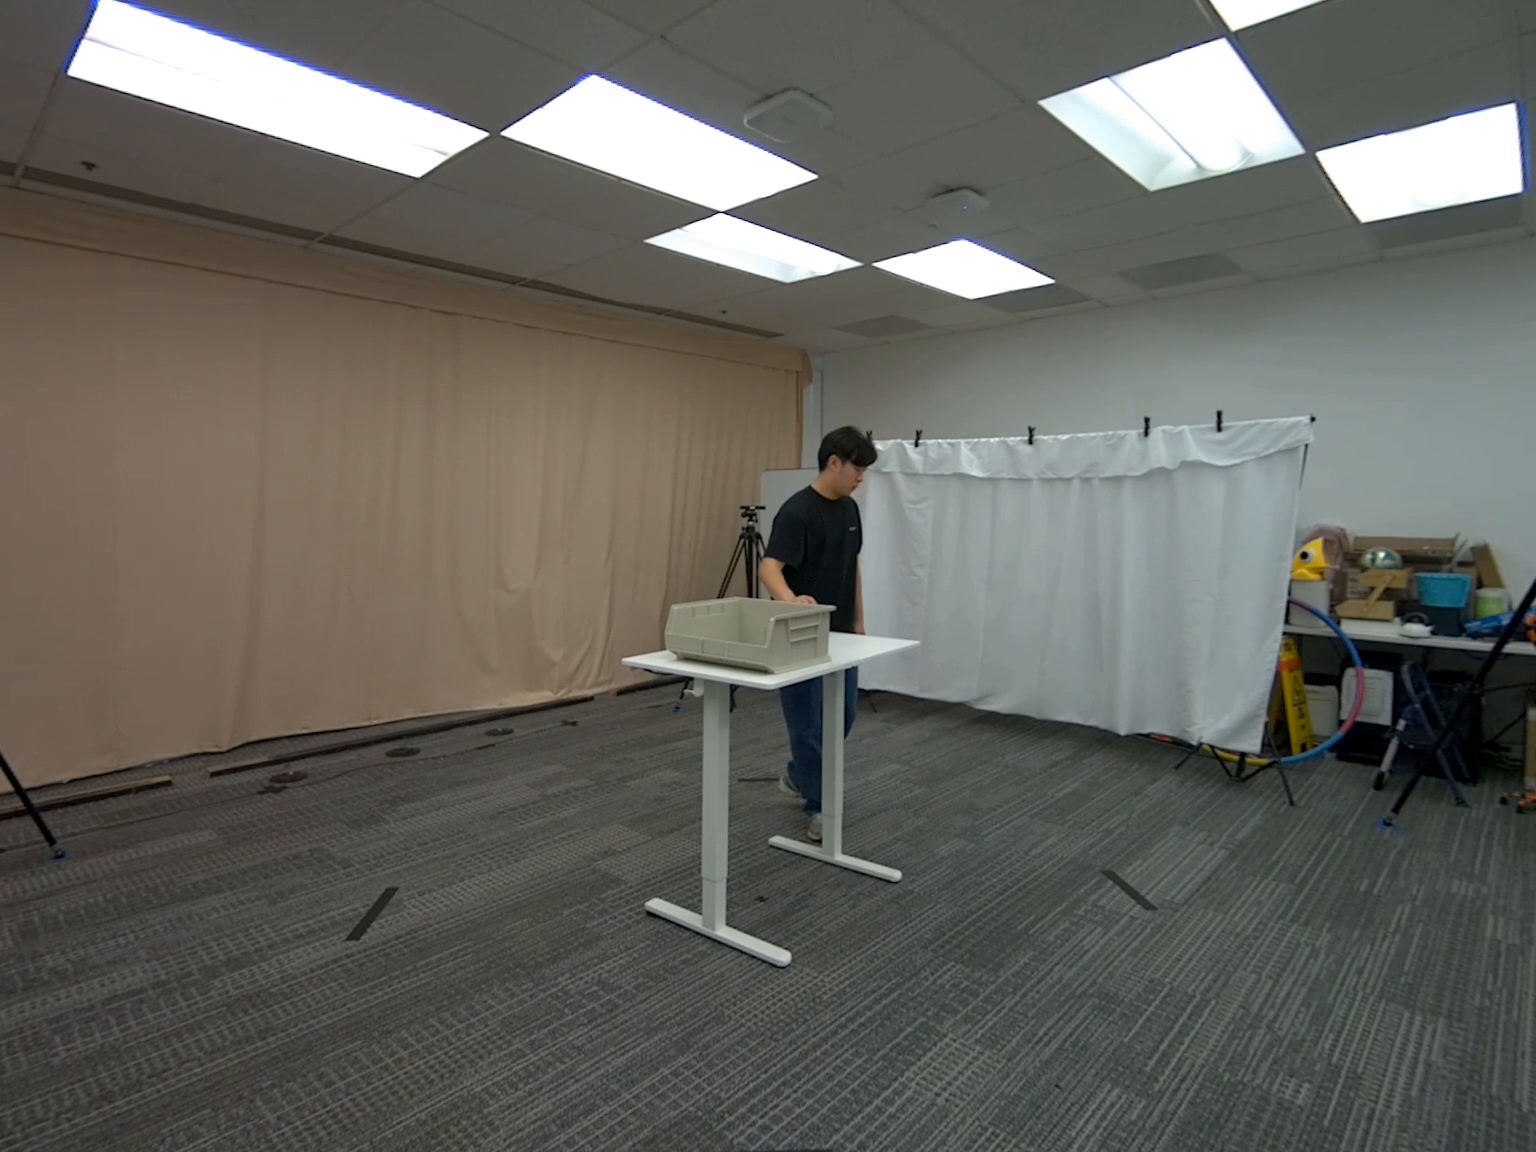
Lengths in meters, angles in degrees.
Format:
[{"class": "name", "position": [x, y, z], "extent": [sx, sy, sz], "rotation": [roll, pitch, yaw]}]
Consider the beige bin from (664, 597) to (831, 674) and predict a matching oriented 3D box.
[{"class": "beige bin", "position": [-0.057, 0.193, 2.751], "extent": [0.436, 0.189, 0.366], "rotation": [4, 4, 39]}]
